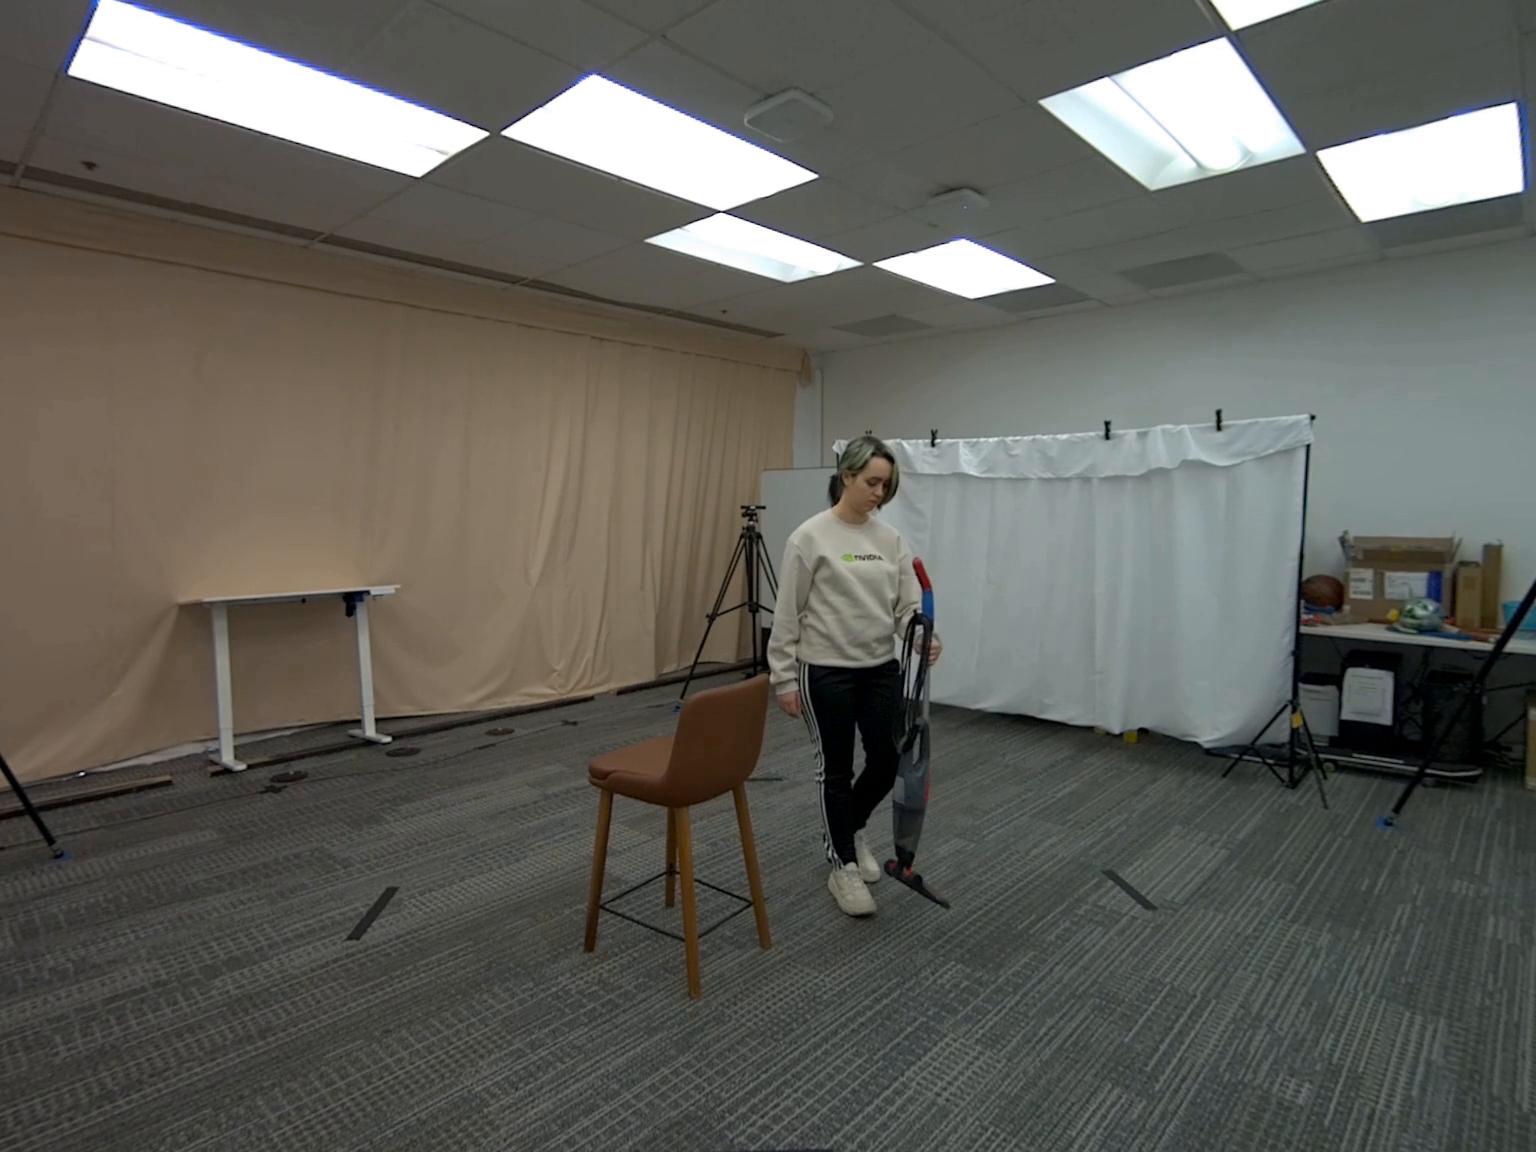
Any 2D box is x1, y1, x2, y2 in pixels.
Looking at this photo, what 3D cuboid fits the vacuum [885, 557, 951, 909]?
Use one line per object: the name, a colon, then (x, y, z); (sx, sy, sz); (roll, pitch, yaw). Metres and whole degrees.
vacuum: (0.479, 0.478, 2.712); (0.140, 1.046, 0.261); (-4, 5, -37)
